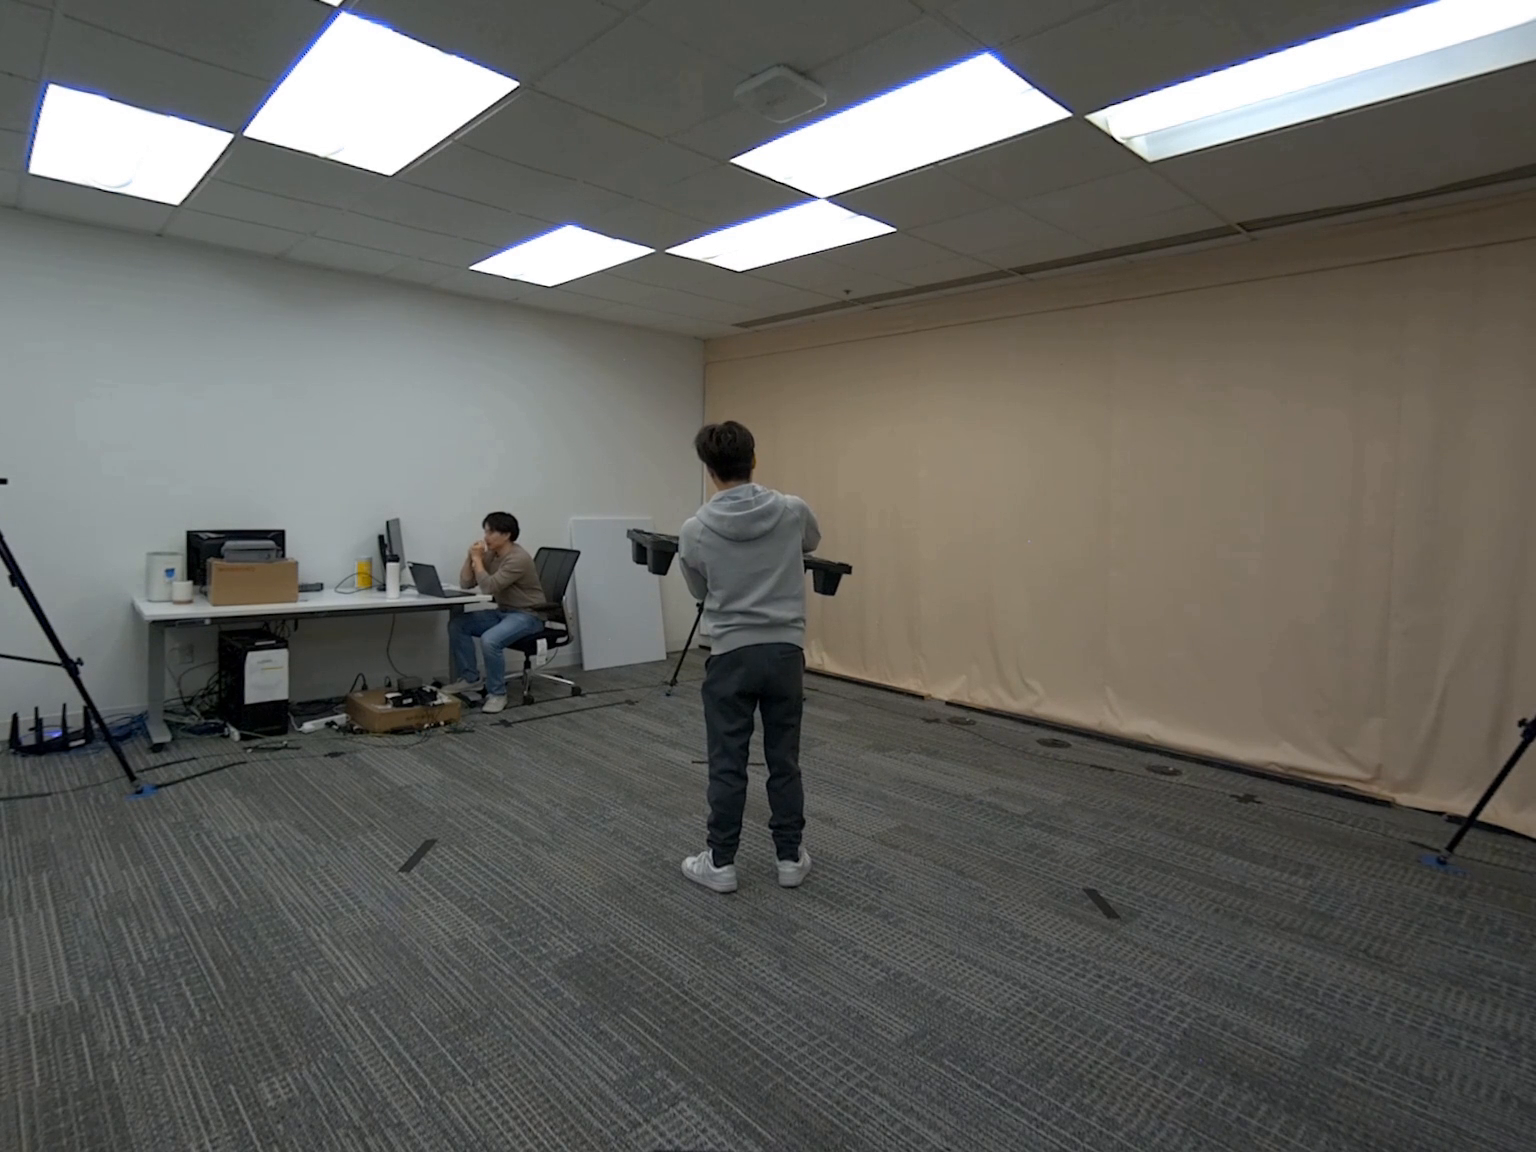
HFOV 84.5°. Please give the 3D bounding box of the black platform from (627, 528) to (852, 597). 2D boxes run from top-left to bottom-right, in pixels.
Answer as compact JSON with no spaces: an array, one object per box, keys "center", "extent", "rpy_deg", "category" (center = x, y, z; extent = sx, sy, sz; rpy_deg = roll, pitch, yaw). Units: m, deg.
[{"center":[-0.160,-0.058,3.425],"extent":[0.794,0.143,0.615],"rpy_deg":[7,5,-17],"category":"black platform"}]
